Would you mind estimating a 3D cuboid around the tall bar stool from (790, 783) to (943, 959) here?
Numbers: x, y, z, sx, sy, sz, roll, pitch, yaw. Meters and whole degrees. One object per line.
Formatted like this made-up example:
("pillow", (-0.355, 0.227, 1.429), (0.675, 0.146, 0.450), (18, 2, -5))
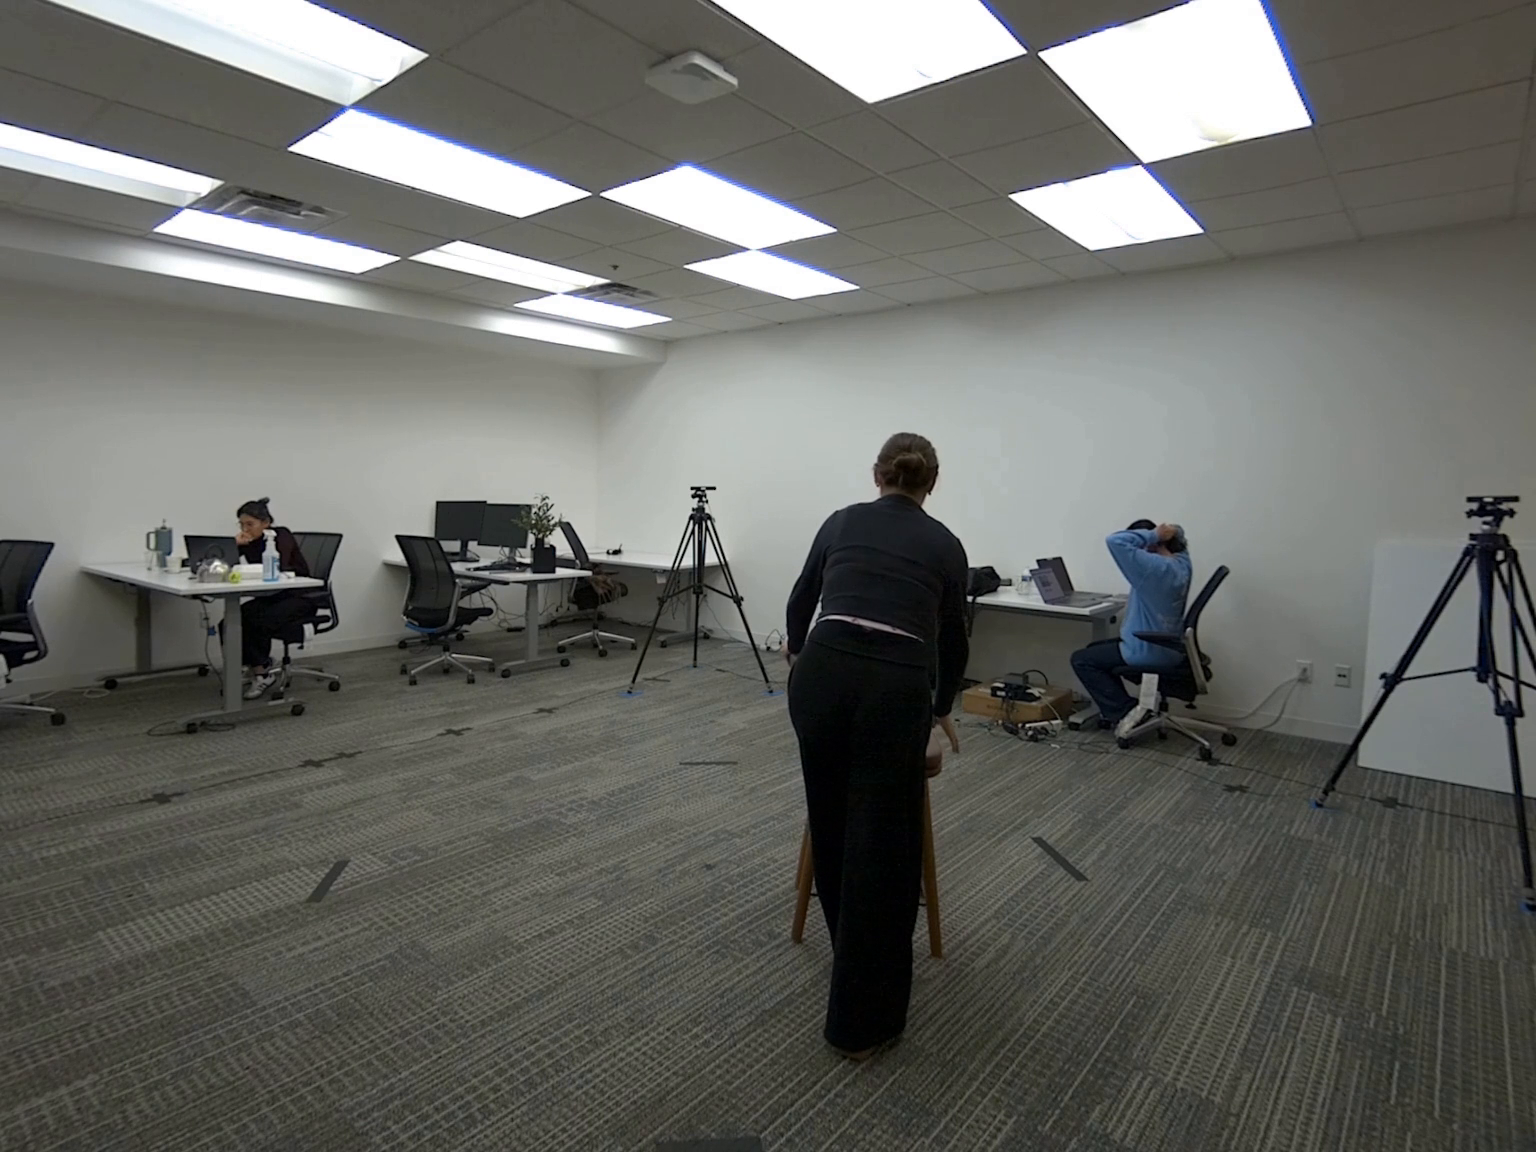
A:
("tall bar stool", (0.305, 0.673, 2.746), (0.471, 0.887, 0.455), (0, 3, 6))
